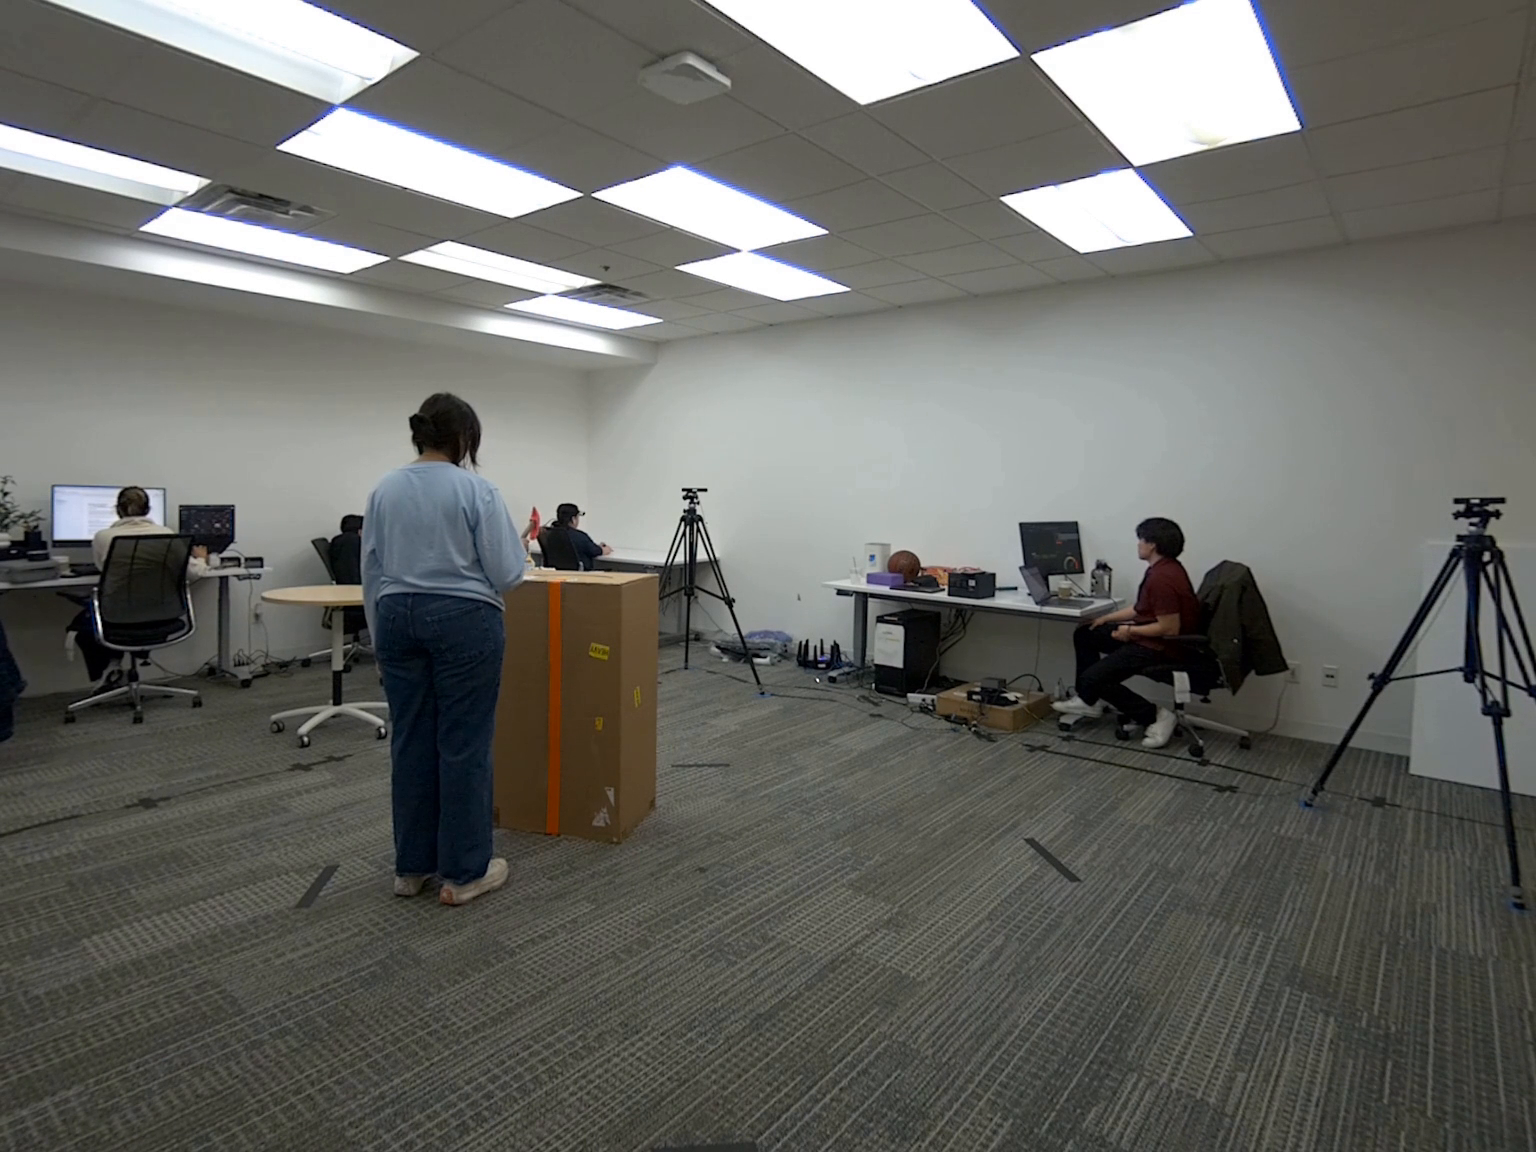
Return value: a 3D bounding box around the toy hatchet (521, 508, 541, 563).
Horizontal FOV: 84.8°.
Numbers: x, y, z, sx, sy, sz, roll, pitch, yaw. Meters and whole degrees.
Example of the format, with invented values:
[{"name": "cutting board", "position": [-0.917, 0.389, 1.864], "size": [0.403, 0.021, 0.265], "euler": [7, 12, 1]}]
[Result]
[{"name": "toy hatchet", "position": [-0.938, -0.141, 3.268], "size": [0.029, 0.128, 0.277], "euler": [7, 45, -2]}]
